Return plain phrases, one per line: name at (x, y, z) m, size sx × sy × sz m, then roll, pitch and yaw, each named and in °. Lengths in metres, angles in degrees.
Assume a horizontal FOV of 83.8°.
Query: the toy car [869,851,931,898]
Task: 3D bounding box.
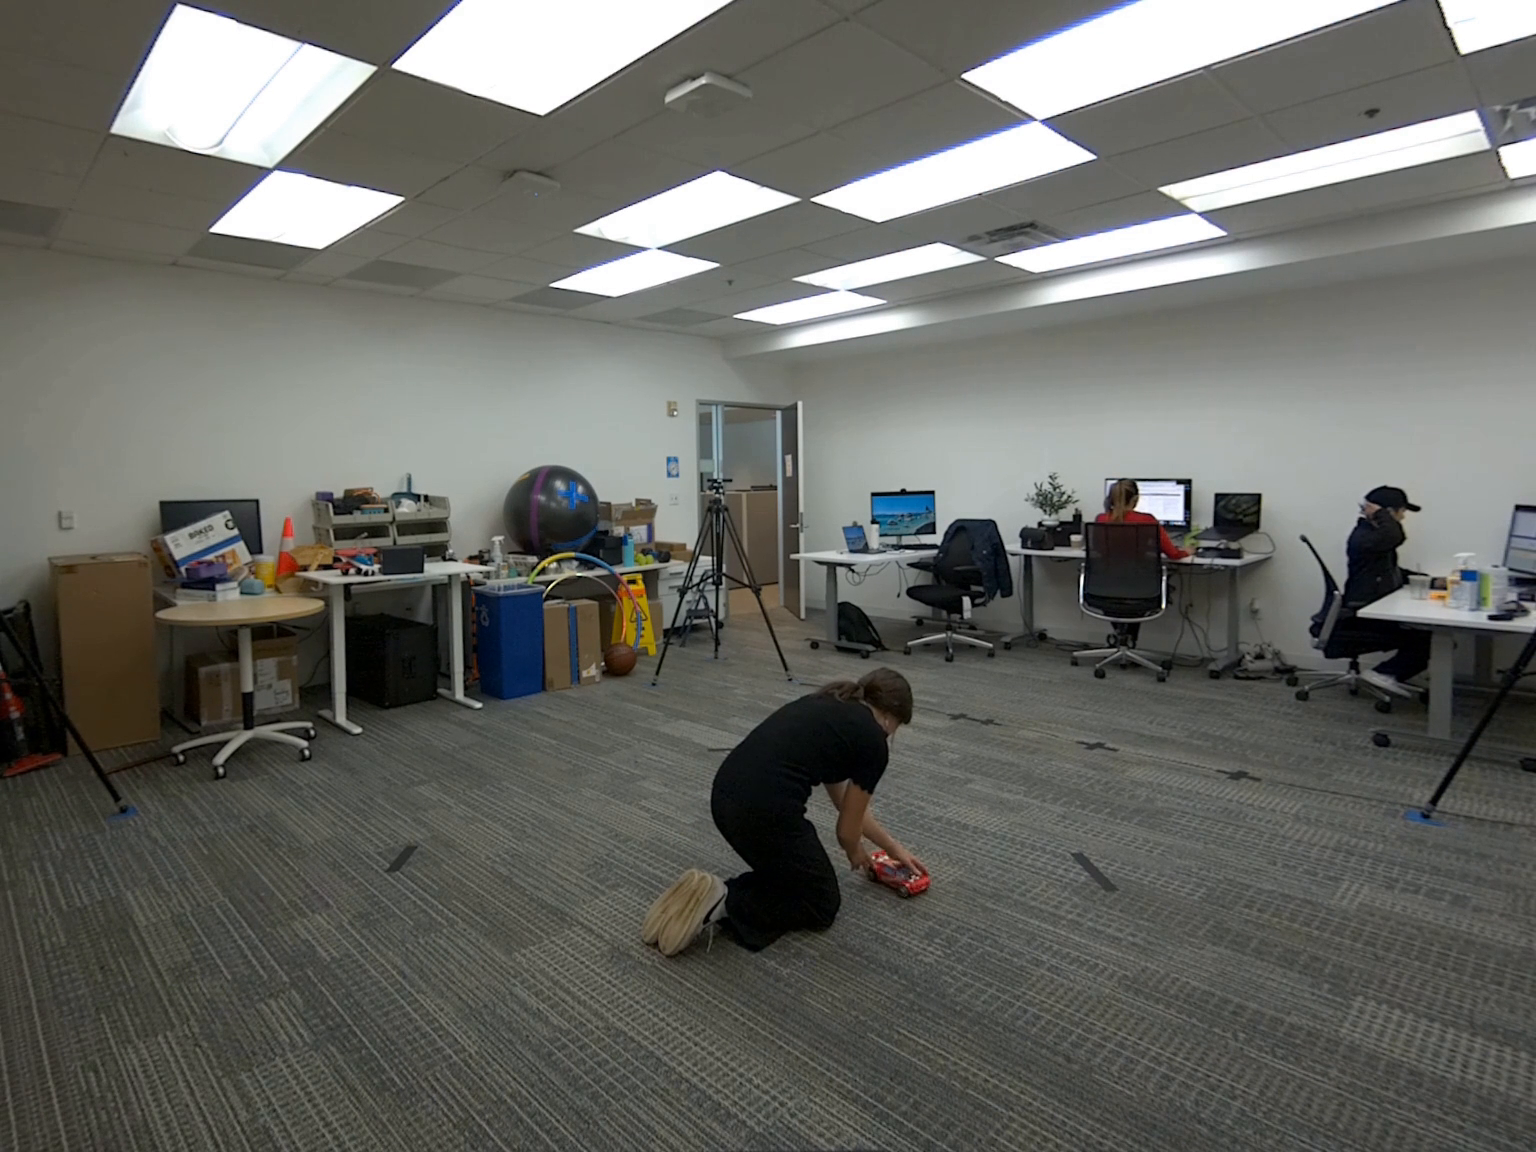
toy car at (0.431, 1.023, 2.941) m, size 0.127 × 0.082 × 0.264 m, roll -6°, pitch 19°, yaw -36°
